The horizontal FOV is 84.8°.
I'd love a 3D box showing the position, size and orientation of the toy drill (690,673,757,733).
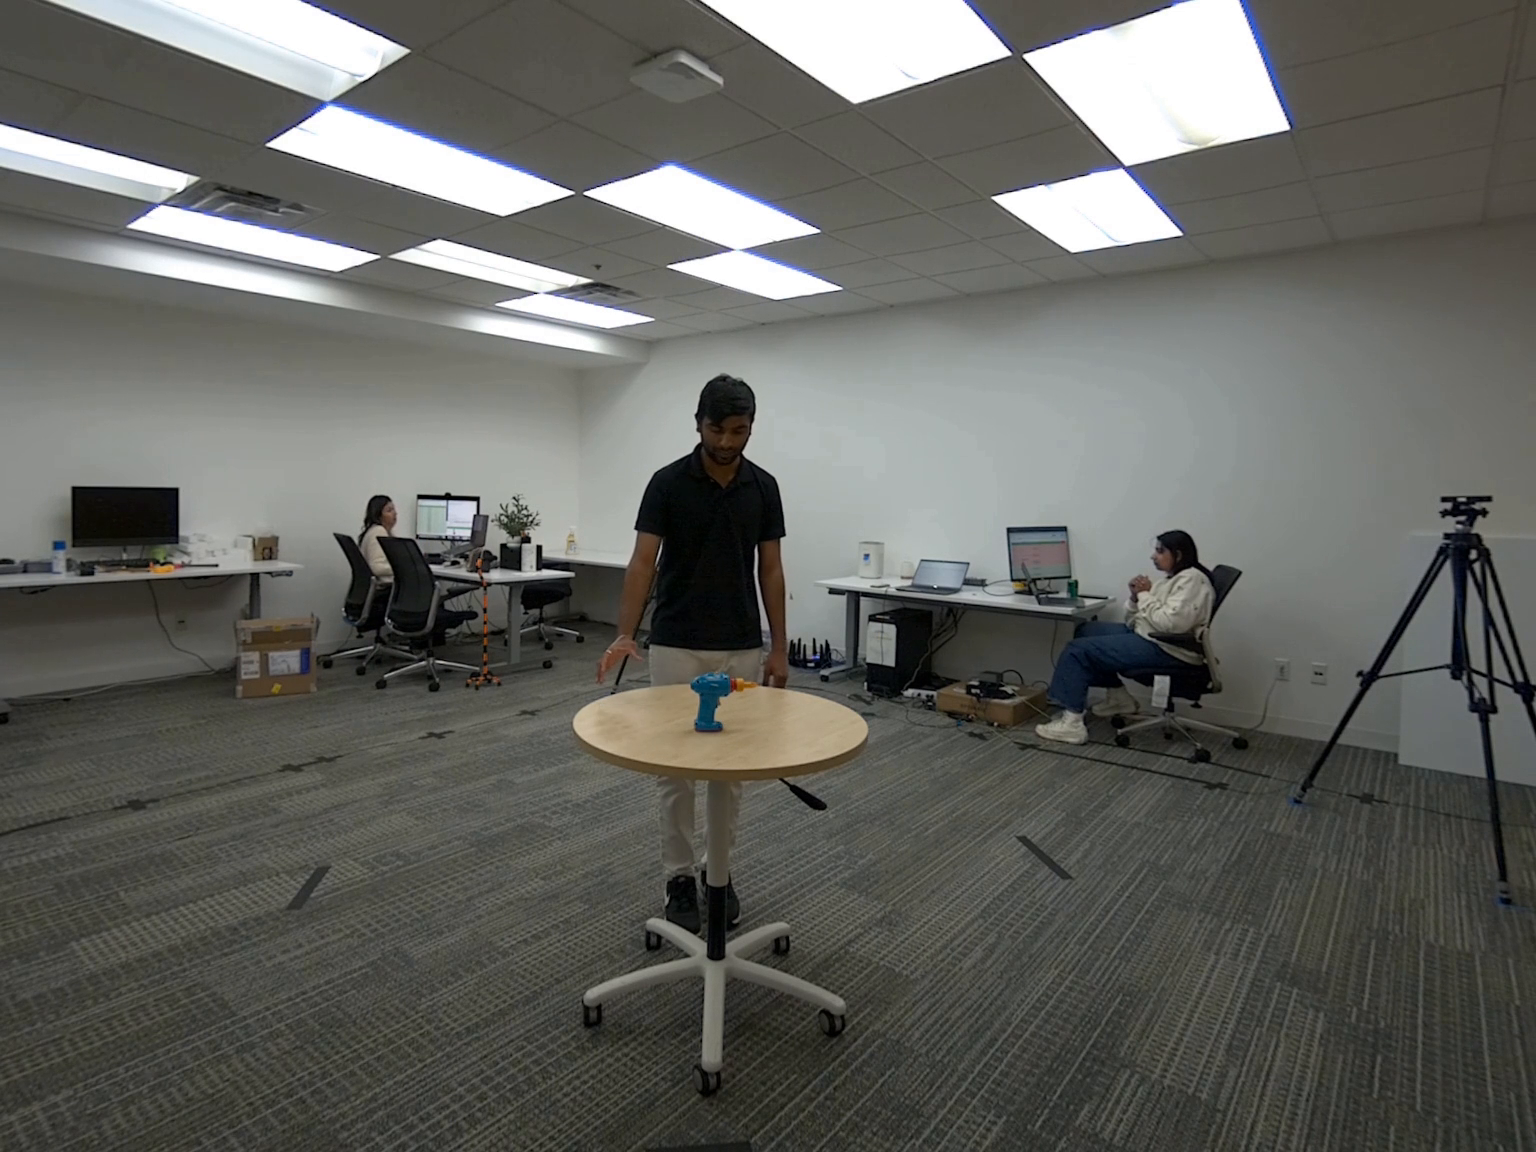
[{"bbox_3d":[-0.118,0.309,2.143,0.168,0.145,0.062,0,4,-11],"label":"toy drill"}]
